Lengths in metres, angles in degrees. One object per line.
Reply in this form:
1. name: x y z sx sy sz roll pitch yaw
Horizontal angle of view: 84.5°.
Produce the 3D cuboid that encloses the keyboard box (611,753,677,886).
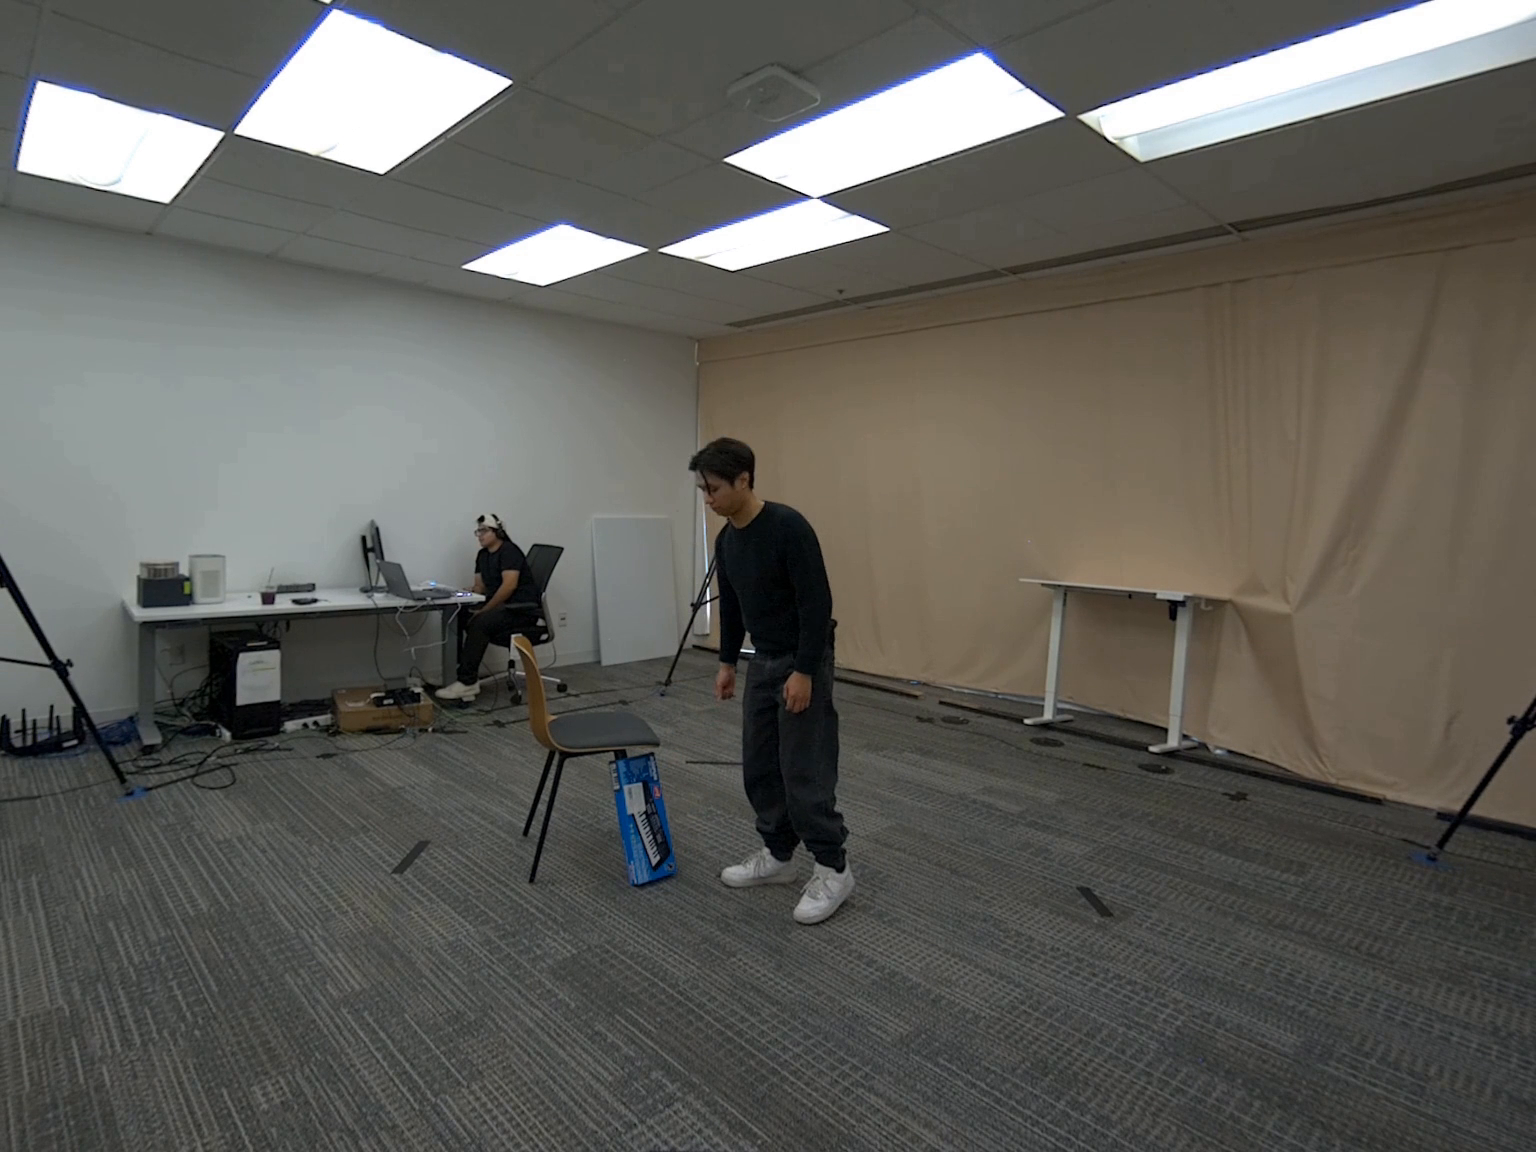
1. keyboard box: -0.467 0.882 3.099 0.172 0.442 0.060 -2 -16 -41
